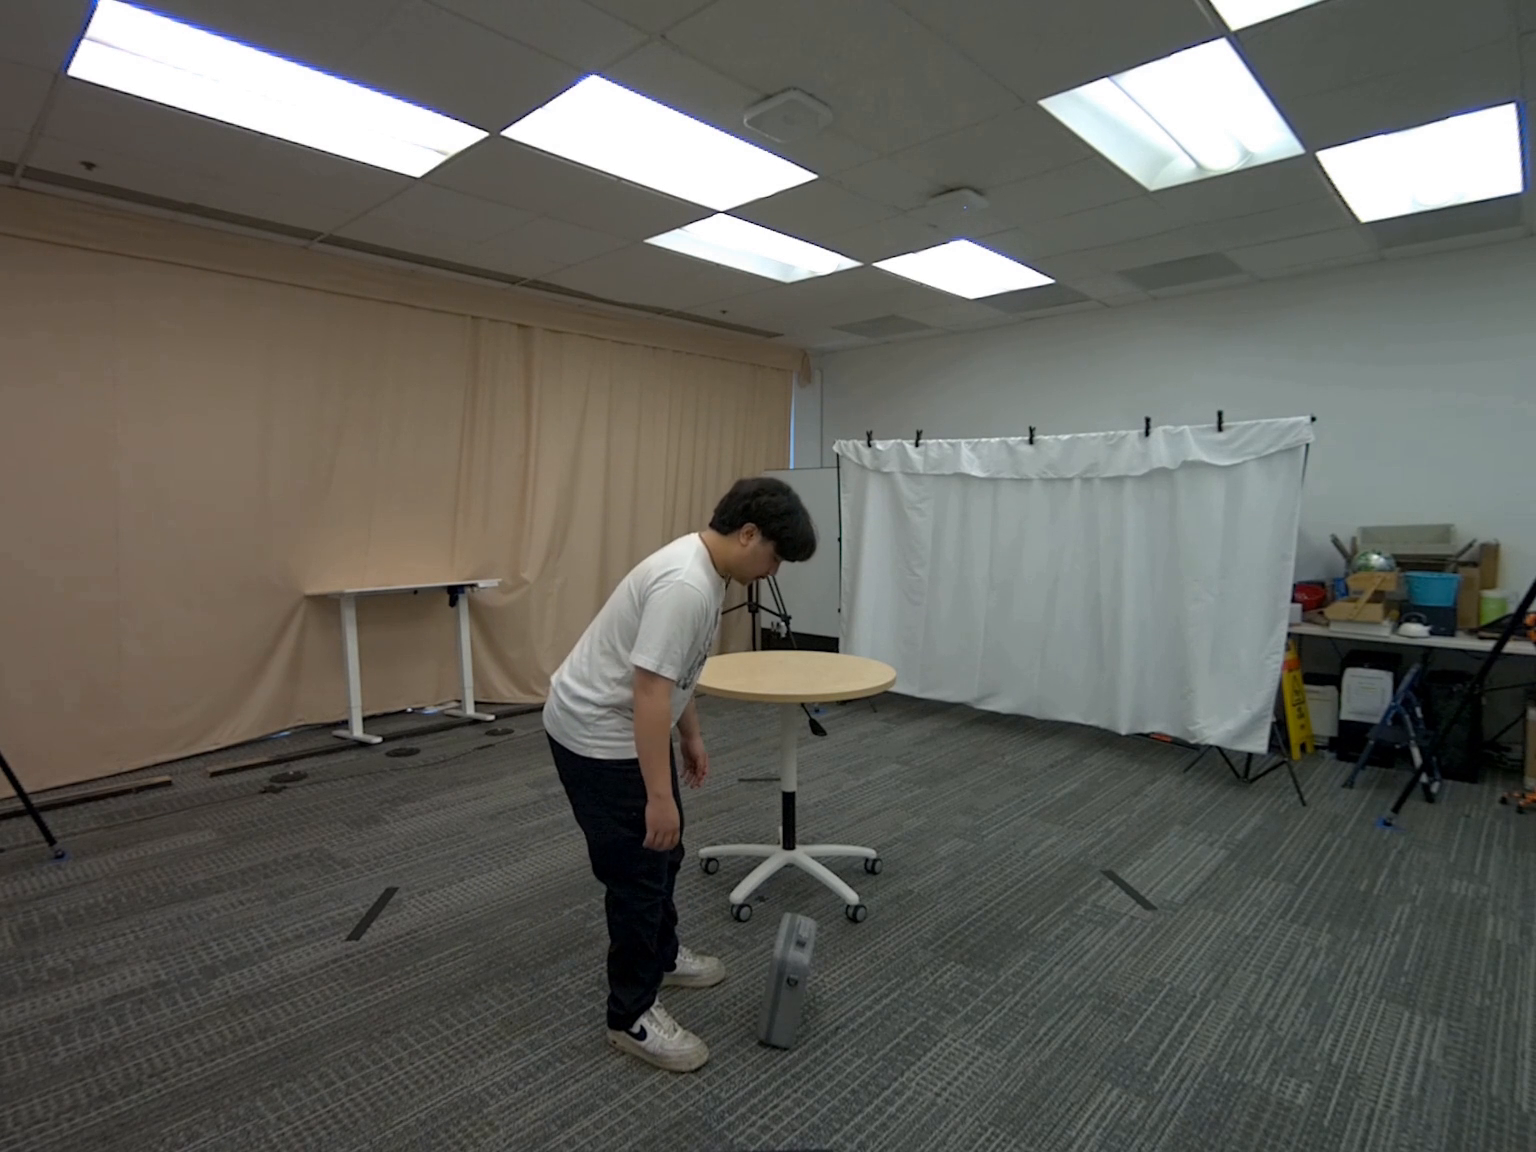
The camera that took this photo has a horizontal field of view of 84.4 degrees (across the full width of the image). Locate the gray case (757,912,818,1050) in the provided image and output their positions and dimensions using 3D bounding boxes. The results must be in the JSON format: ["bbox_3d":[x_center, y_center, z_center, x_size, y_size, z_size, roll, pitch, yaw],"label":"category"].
[{"bbox_3d":[0.070,1.085,2.253,0.105,0.260,0.255,12,5,6],"label":"gray case"}]
